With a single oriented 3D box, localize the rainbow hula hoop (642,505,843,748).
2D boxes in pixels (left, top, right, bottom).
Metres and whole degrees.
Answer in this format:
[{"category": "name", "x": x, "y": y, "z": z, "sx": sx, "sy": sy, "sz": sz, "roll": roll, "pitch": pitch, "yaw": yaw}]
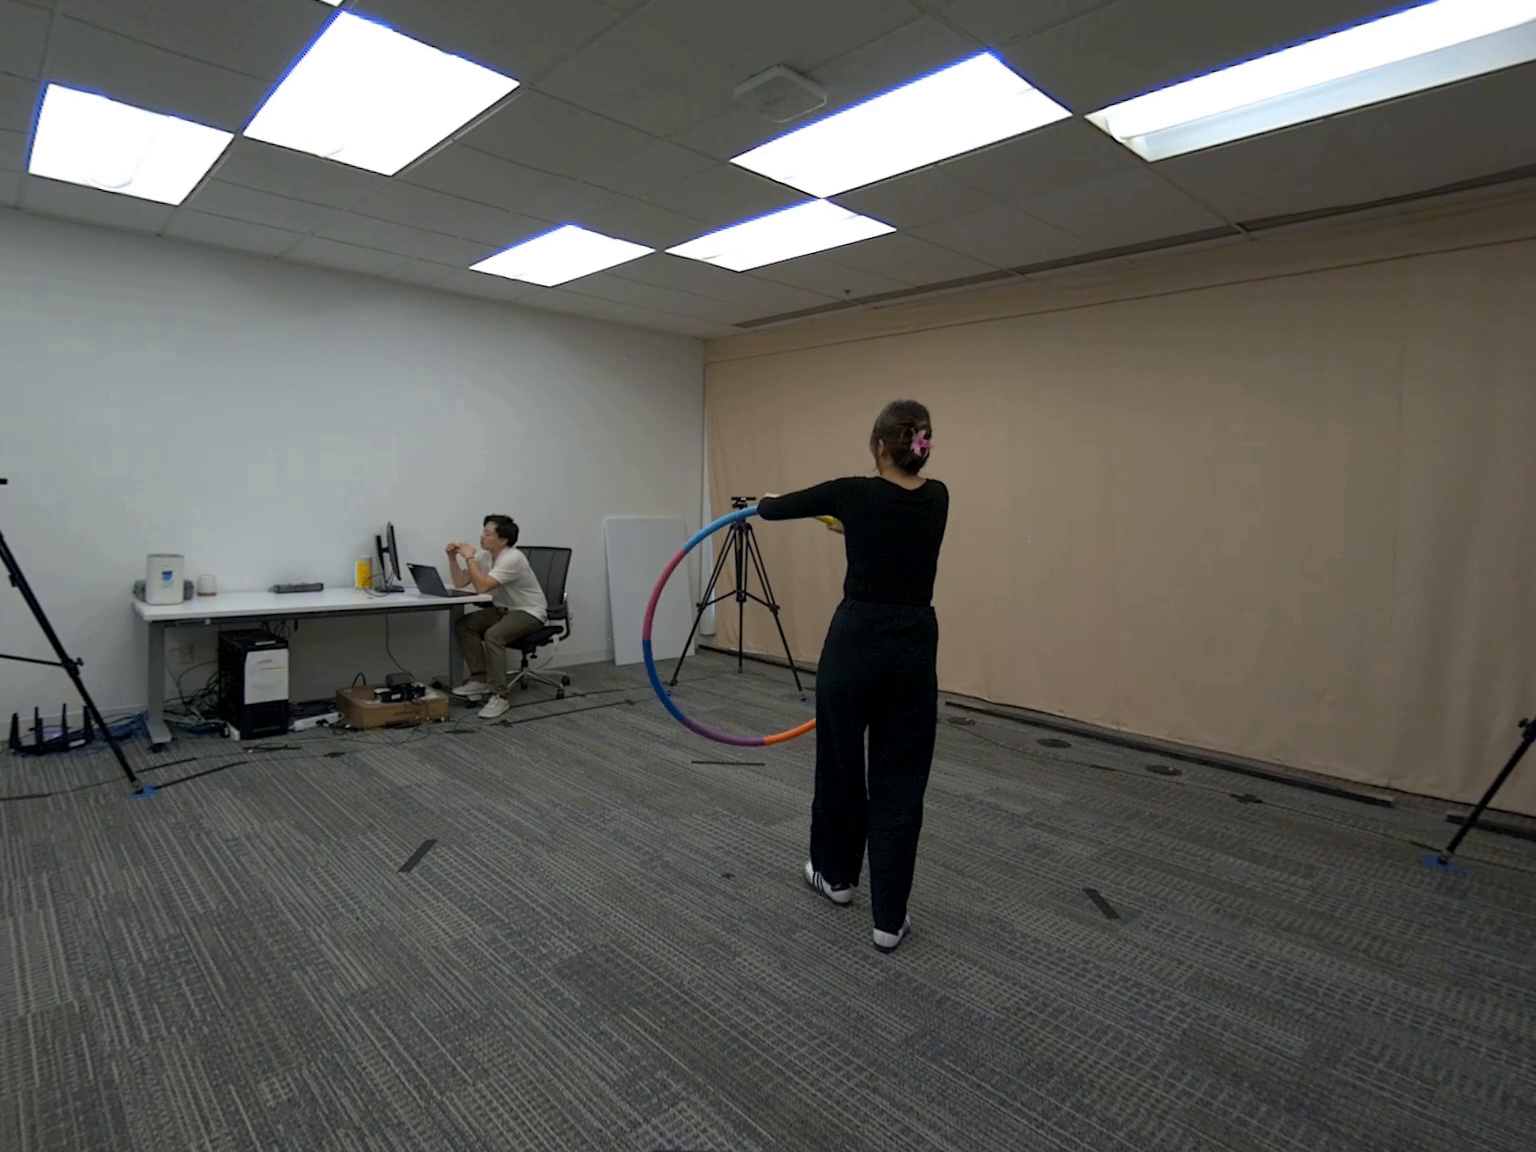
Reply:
[{"category": "rainbow hula hoop", "x": 0.003, "y": 0.206, "z": 3.224, "sx": 0.973, "sy": 0.974, "sz": 0.053, "roll": 0, "pitch": 18, "yaw": -16}]
